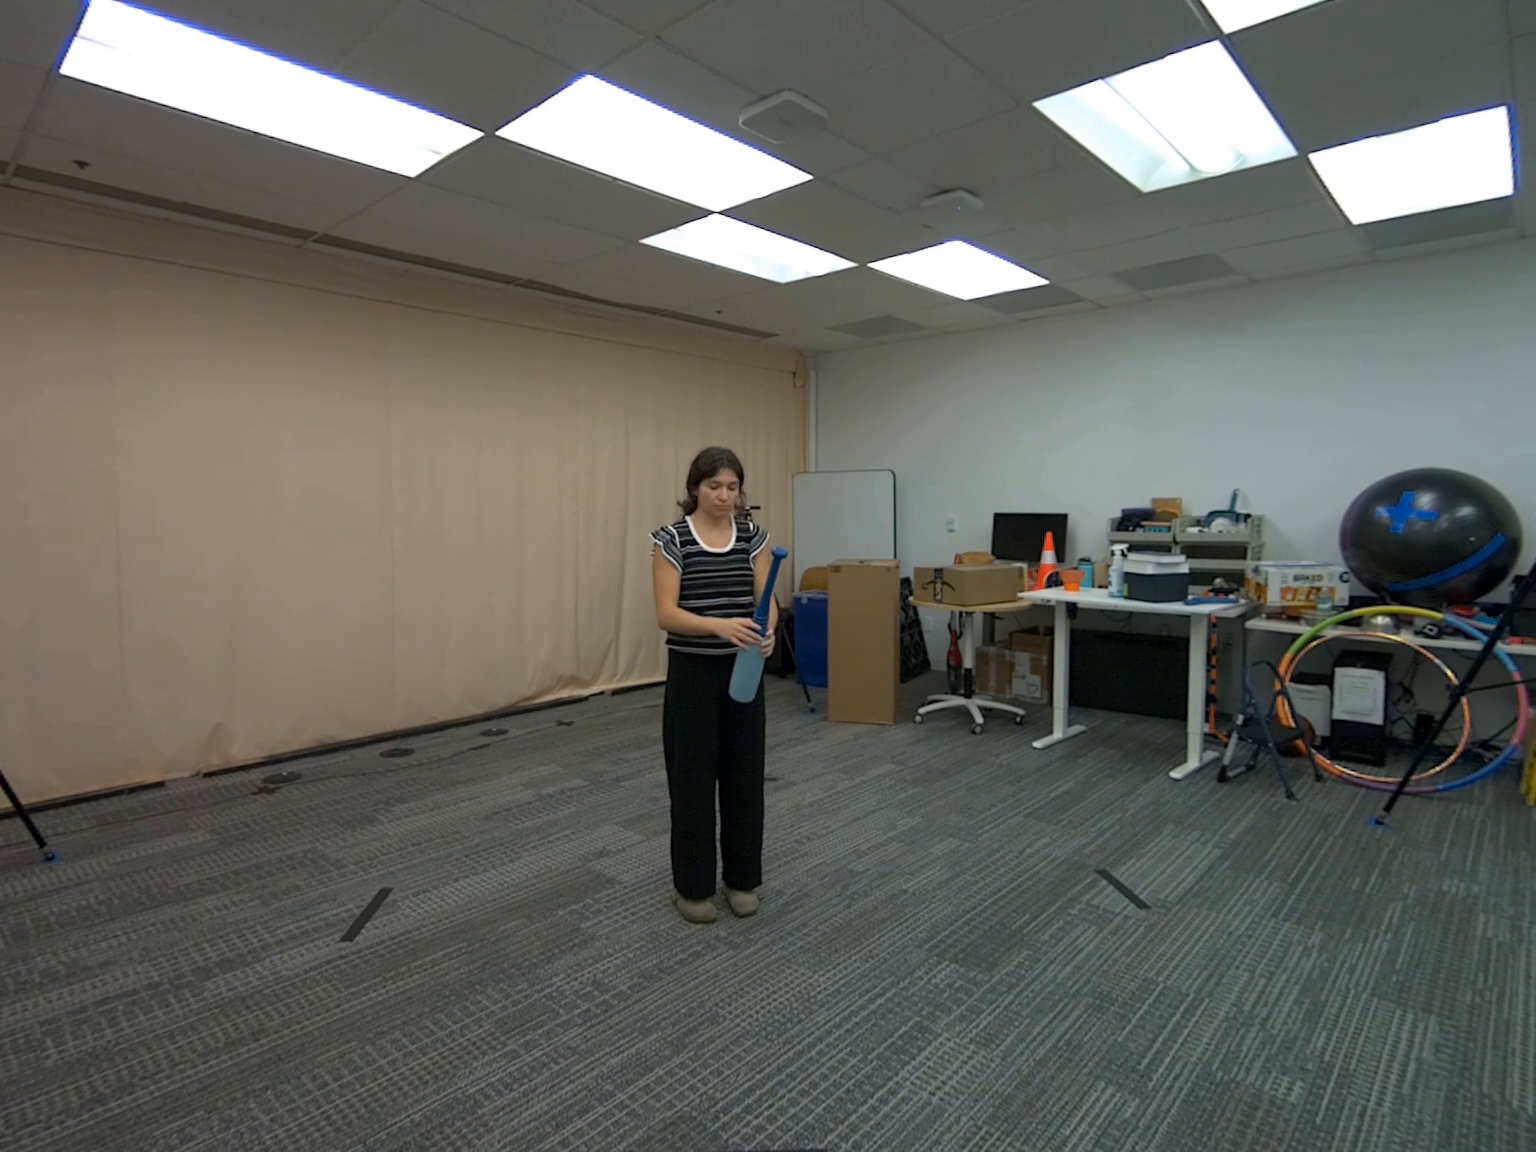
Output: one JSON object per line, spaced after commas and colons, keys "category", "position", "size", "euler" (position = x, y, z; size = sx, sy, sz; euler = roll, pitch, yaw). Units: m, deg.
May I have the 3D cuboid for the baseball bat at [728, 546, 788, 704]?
{"category": "baseball bat", "position": [-0.034, 0.153, 2.580], "size": [0.088, 0.539, 0.090], "euler": [12, 27, -8]}
